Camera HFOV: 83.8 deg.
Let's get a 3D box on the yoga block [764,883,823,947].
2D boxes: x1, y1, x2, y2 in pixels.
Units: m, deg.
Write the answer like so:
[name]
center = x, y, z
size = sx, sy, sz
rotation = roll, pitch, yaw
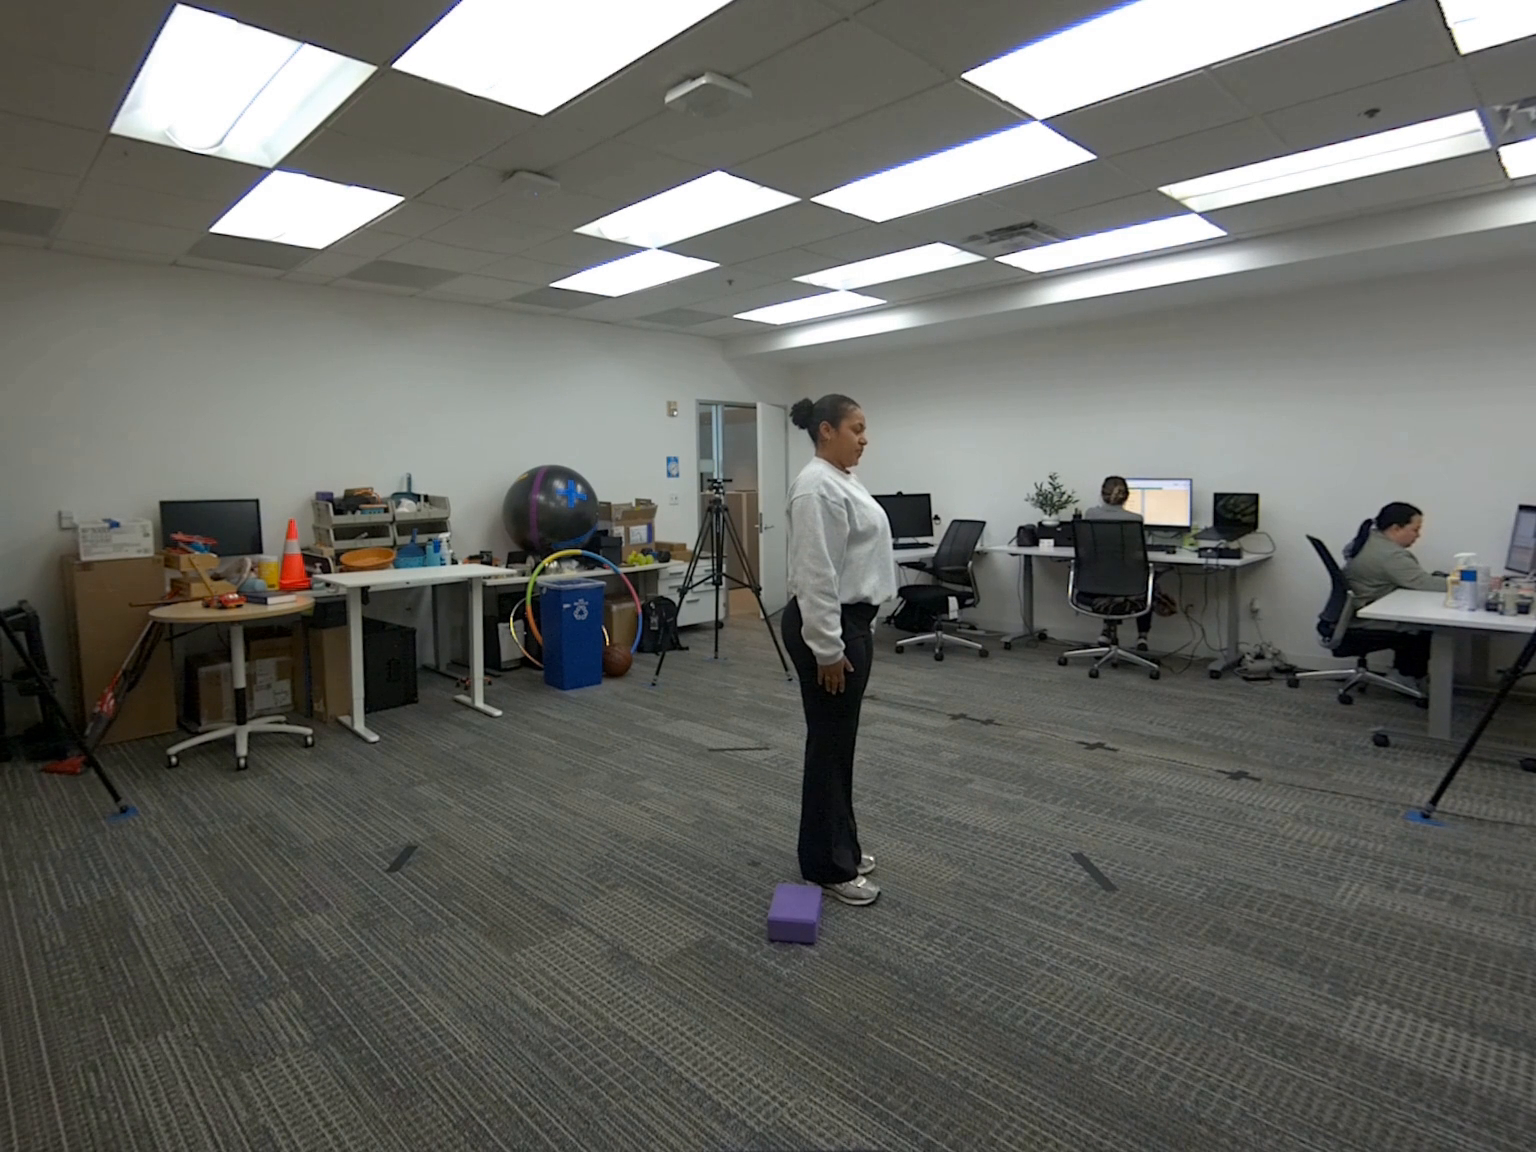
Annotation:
[yoga block]
center = 0.090, 1.047, 2.677
size = 0.150, 0.076, 0.228
rotation = -1, 6, 9
